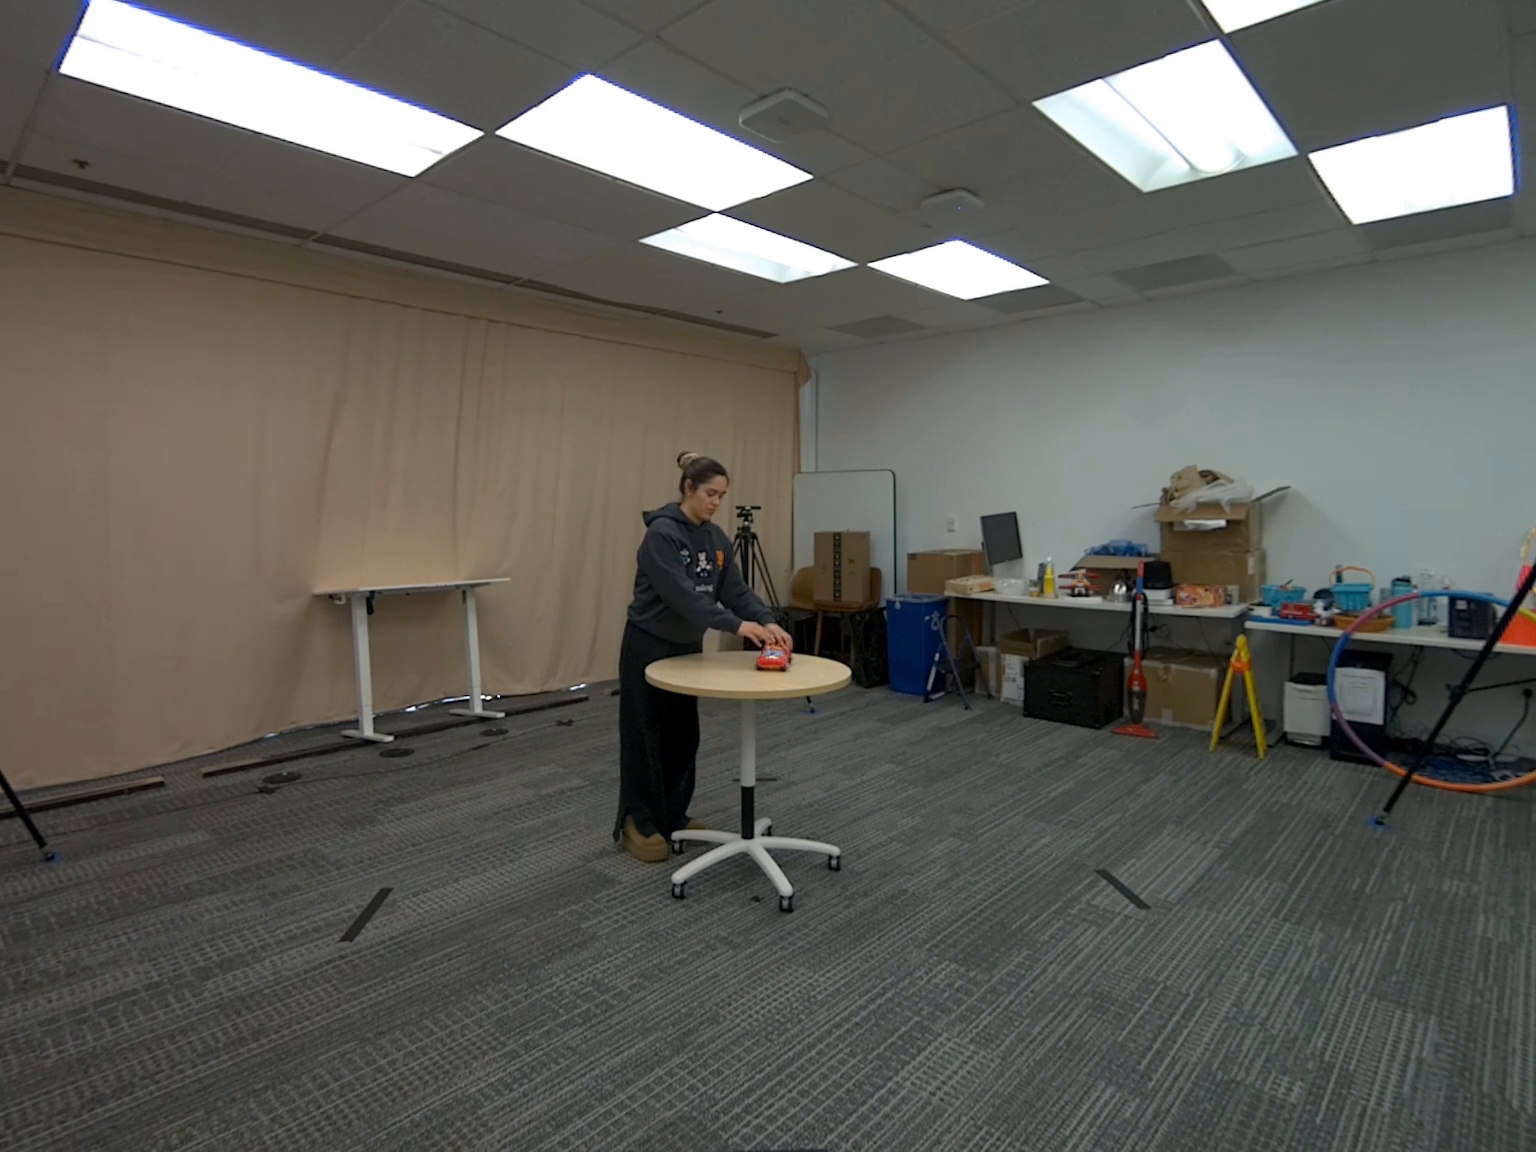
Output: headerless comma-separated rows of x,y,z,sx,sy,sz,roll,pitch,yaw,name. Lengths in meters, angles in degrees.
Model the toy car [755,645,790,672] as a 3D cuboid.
0.041,0.309,3.204,0.132,0.082,0.254,1,16,8,toy car
